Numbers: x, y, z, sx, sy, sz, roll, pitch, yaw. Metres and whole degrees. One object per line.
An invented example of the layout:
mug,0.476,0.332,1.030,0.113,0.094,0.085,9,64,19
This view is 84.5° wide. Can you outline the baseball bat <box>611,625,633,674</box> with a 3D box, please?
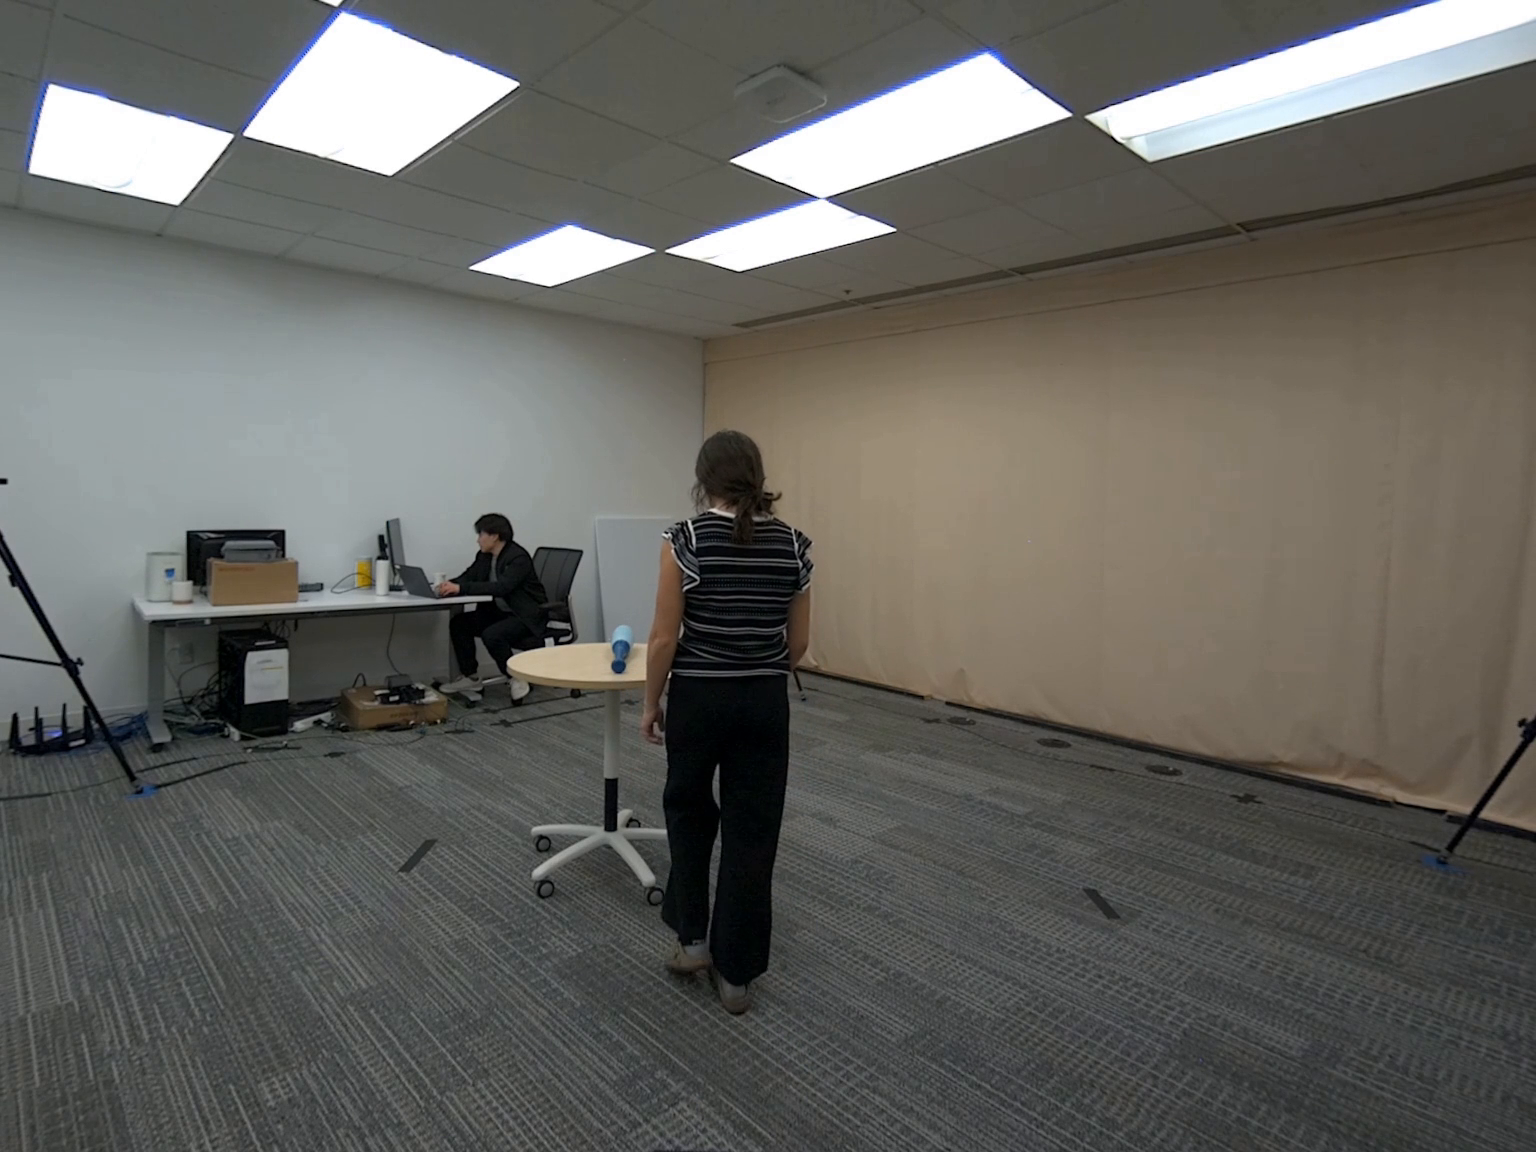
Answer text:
baseball bat,-0.558,0.276,3.134,0.088,0.088,0.548,1,7,-7
